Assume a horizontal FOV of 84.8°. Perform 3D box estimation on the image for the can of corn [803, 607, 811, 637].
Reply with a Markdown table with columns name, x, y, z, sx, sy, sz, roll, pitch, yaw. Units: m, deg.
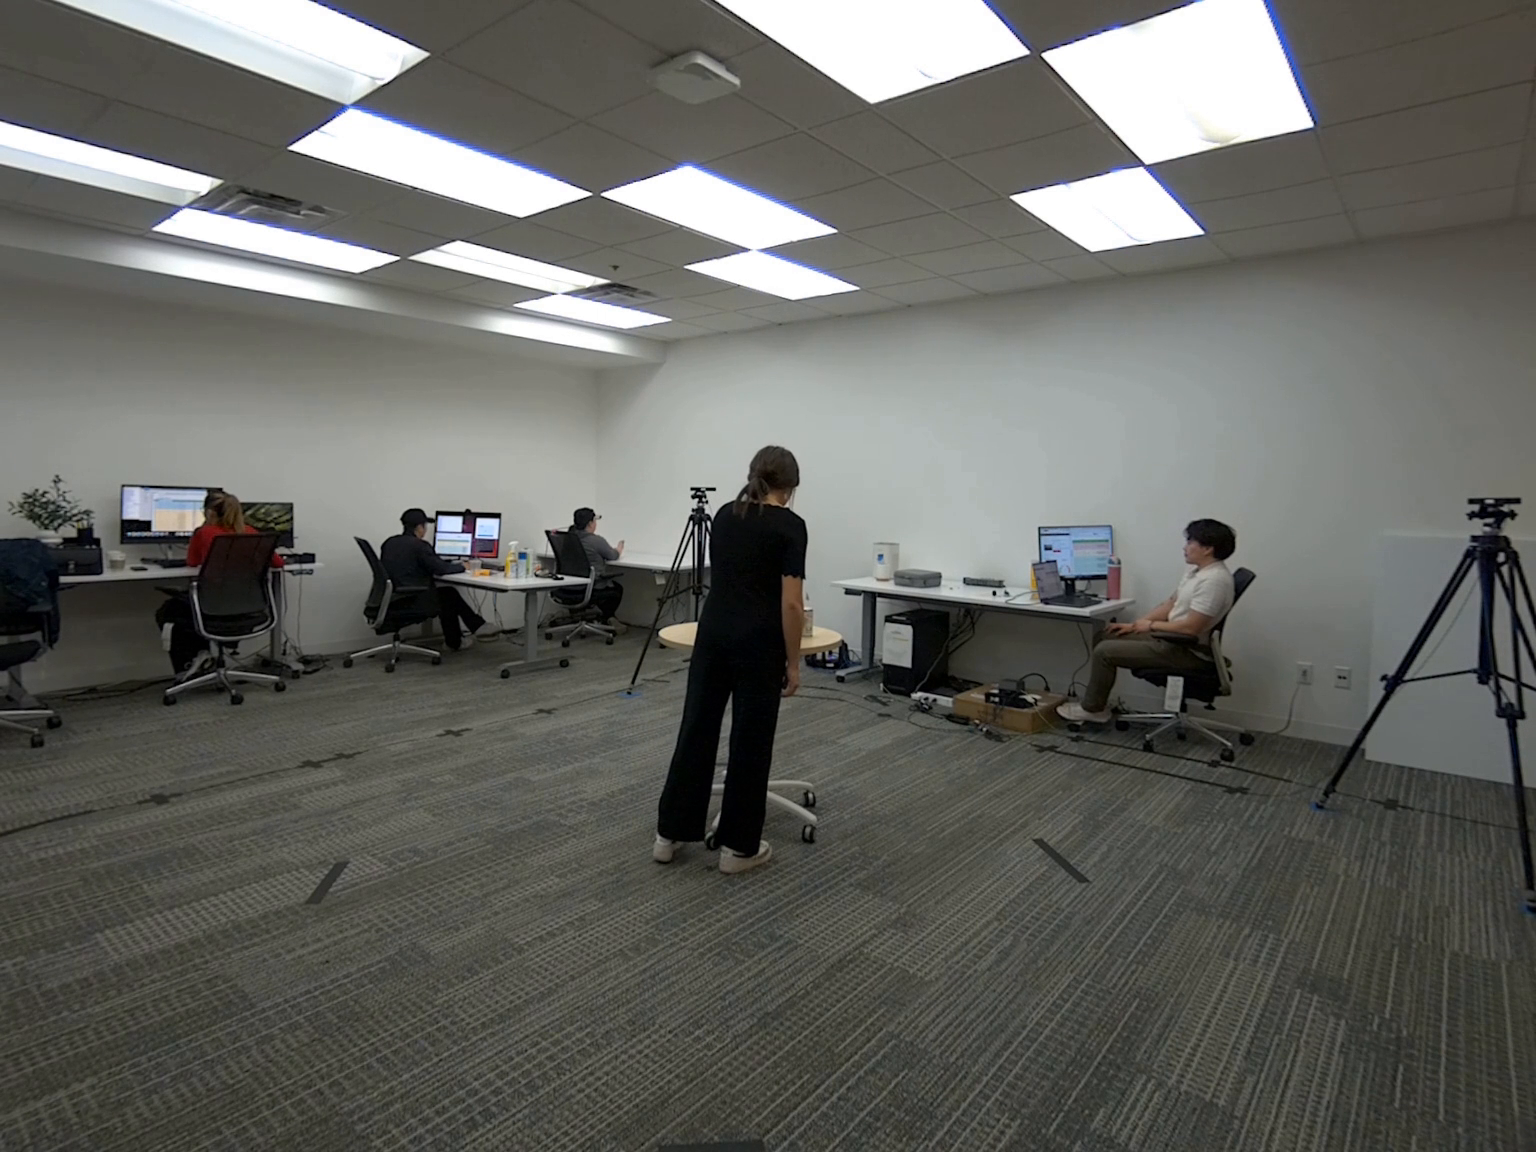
| name | x | y | z | sx | sy | sz | roll | pitch | yaw |
| --- | --- | --- | --- | --- | --- | --- | --- | --- | --- |
| can of corn | 0.136 | 0.191 | 3.534 | 0.074 | 0.110 | 0.074 | 1 | 5 | -2 |
